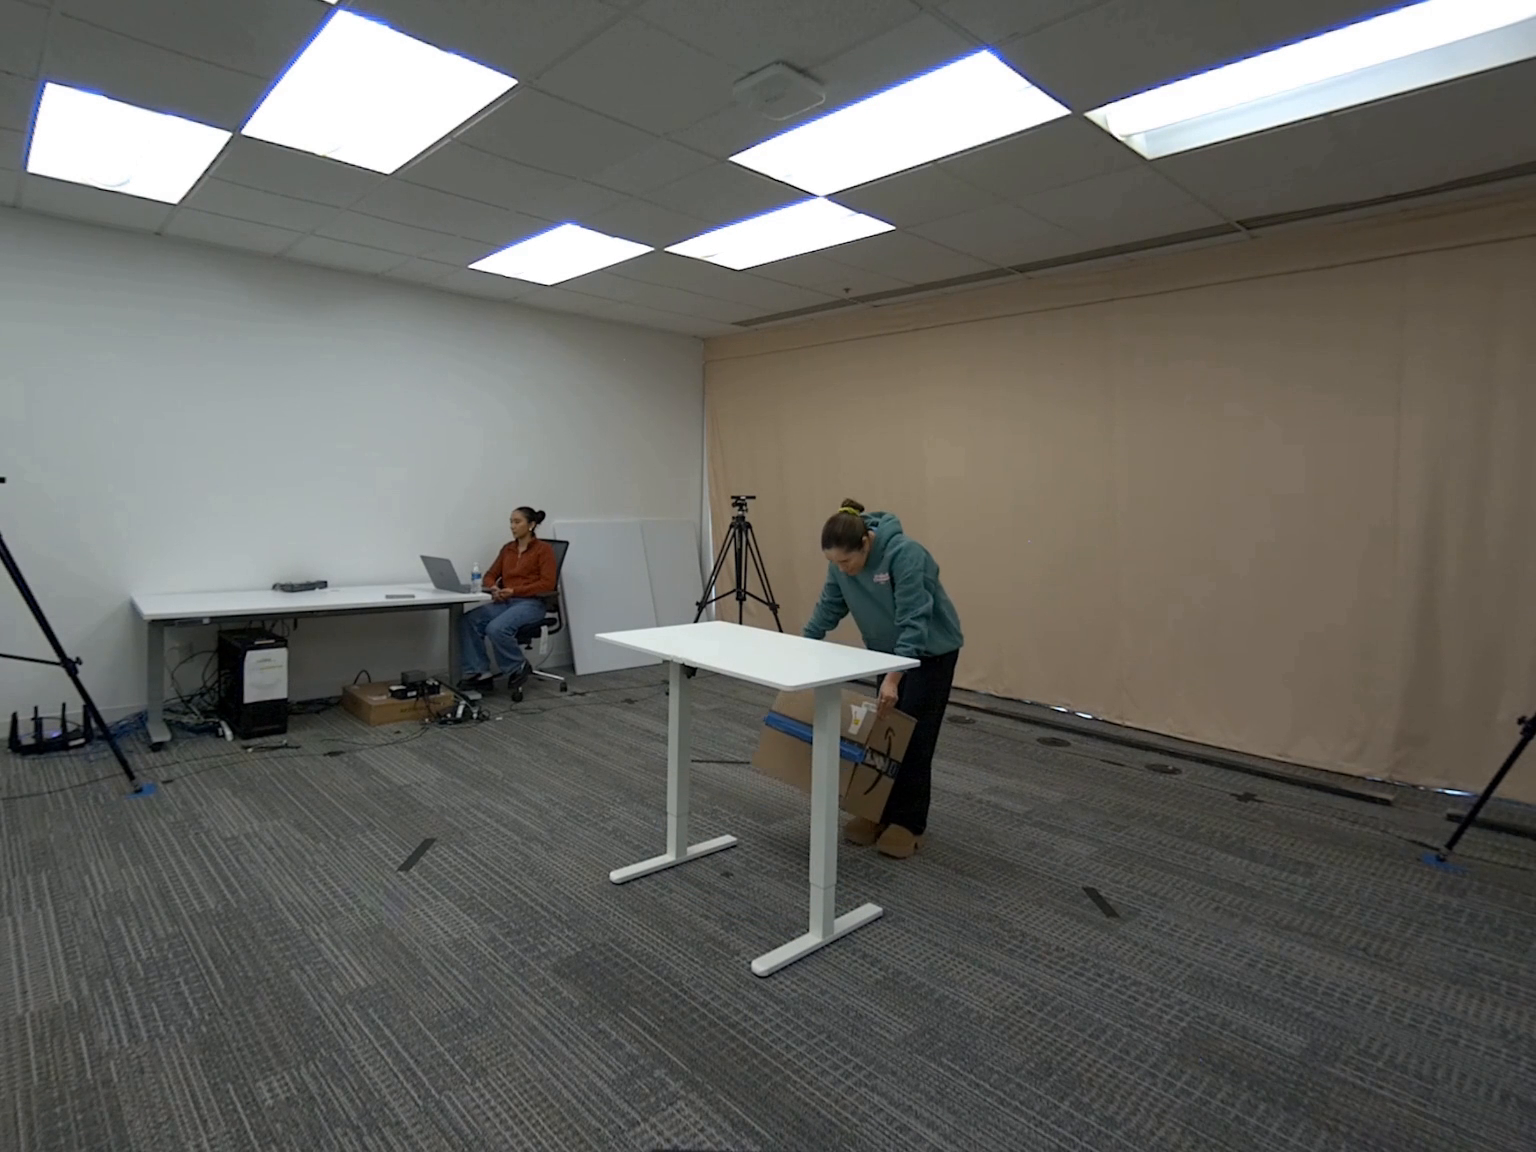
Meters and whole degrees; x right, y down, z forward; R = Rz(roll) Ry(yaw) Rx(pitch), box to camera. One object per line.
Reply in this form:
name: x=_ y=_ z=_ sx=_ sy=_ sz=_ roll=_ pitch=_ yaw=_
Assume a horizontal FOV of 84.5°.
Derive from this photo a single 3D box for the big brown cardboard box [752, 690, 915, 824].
big brown cardboard box: x=0.234 y=0.666 z=3.346 sx=0.226 sy=0.419 sz=0.603 roll=30 pitch=-12 yaw=-34
